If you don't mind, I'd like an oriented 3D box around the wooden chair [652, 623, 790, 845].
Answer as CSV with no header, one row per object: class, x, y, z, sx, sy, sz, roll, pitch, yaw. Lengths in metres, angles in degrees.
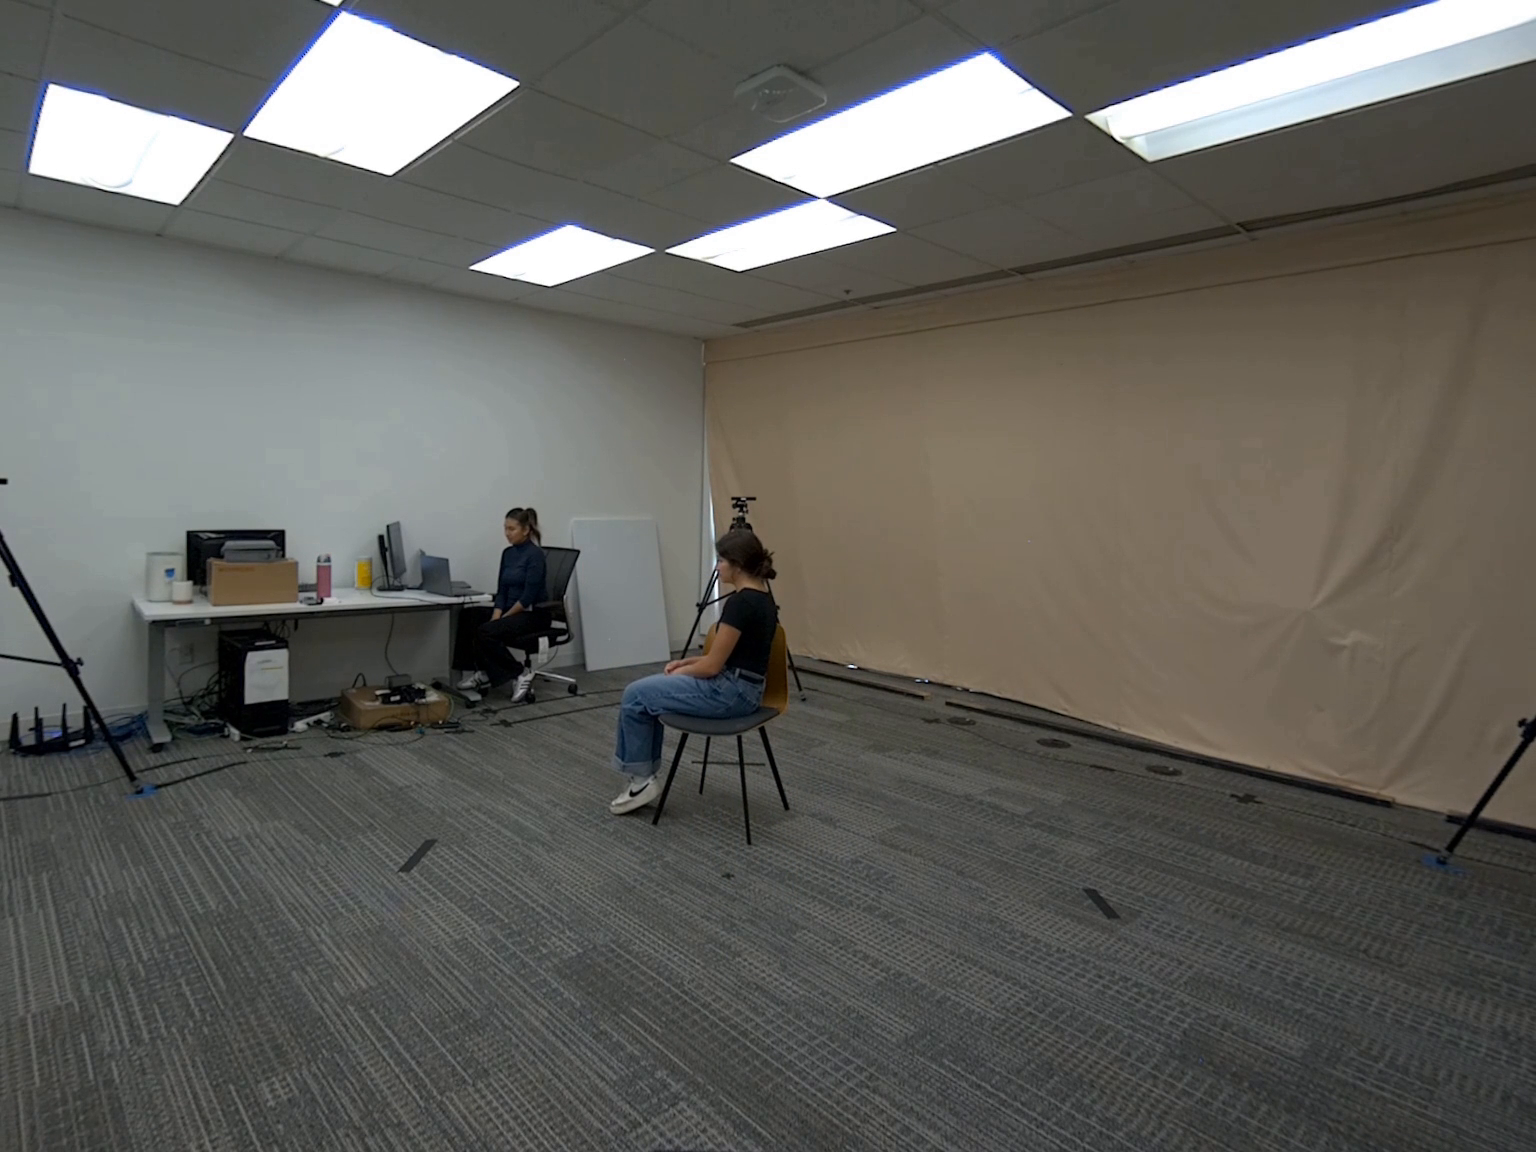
wooden chair,-0.188,0.633,3.650,0.487,0.878,0.513,2,-1,23
